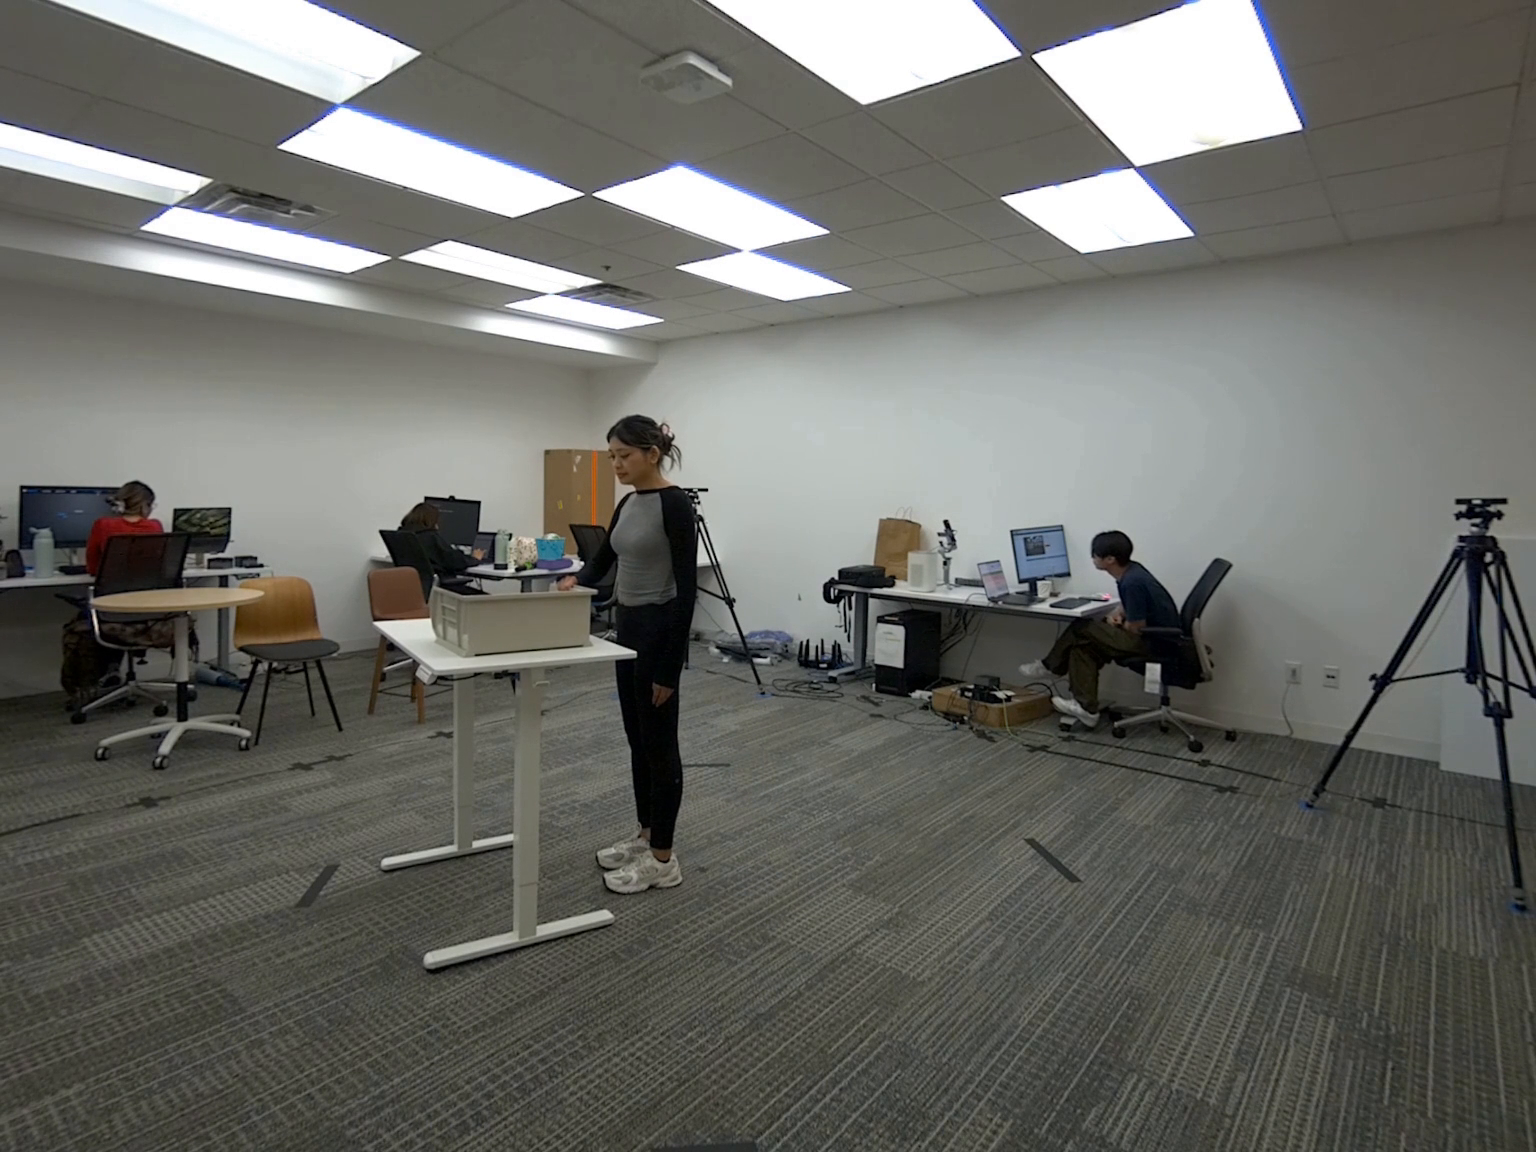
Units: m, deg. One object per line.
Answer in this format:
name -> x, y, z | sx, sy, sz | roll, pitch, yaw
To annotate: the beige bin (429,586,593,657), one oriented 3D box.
beige bin -> -0.831, 0.128, 2.715 | 0.410, 0.188, 0.390 | -2, 6, -35
